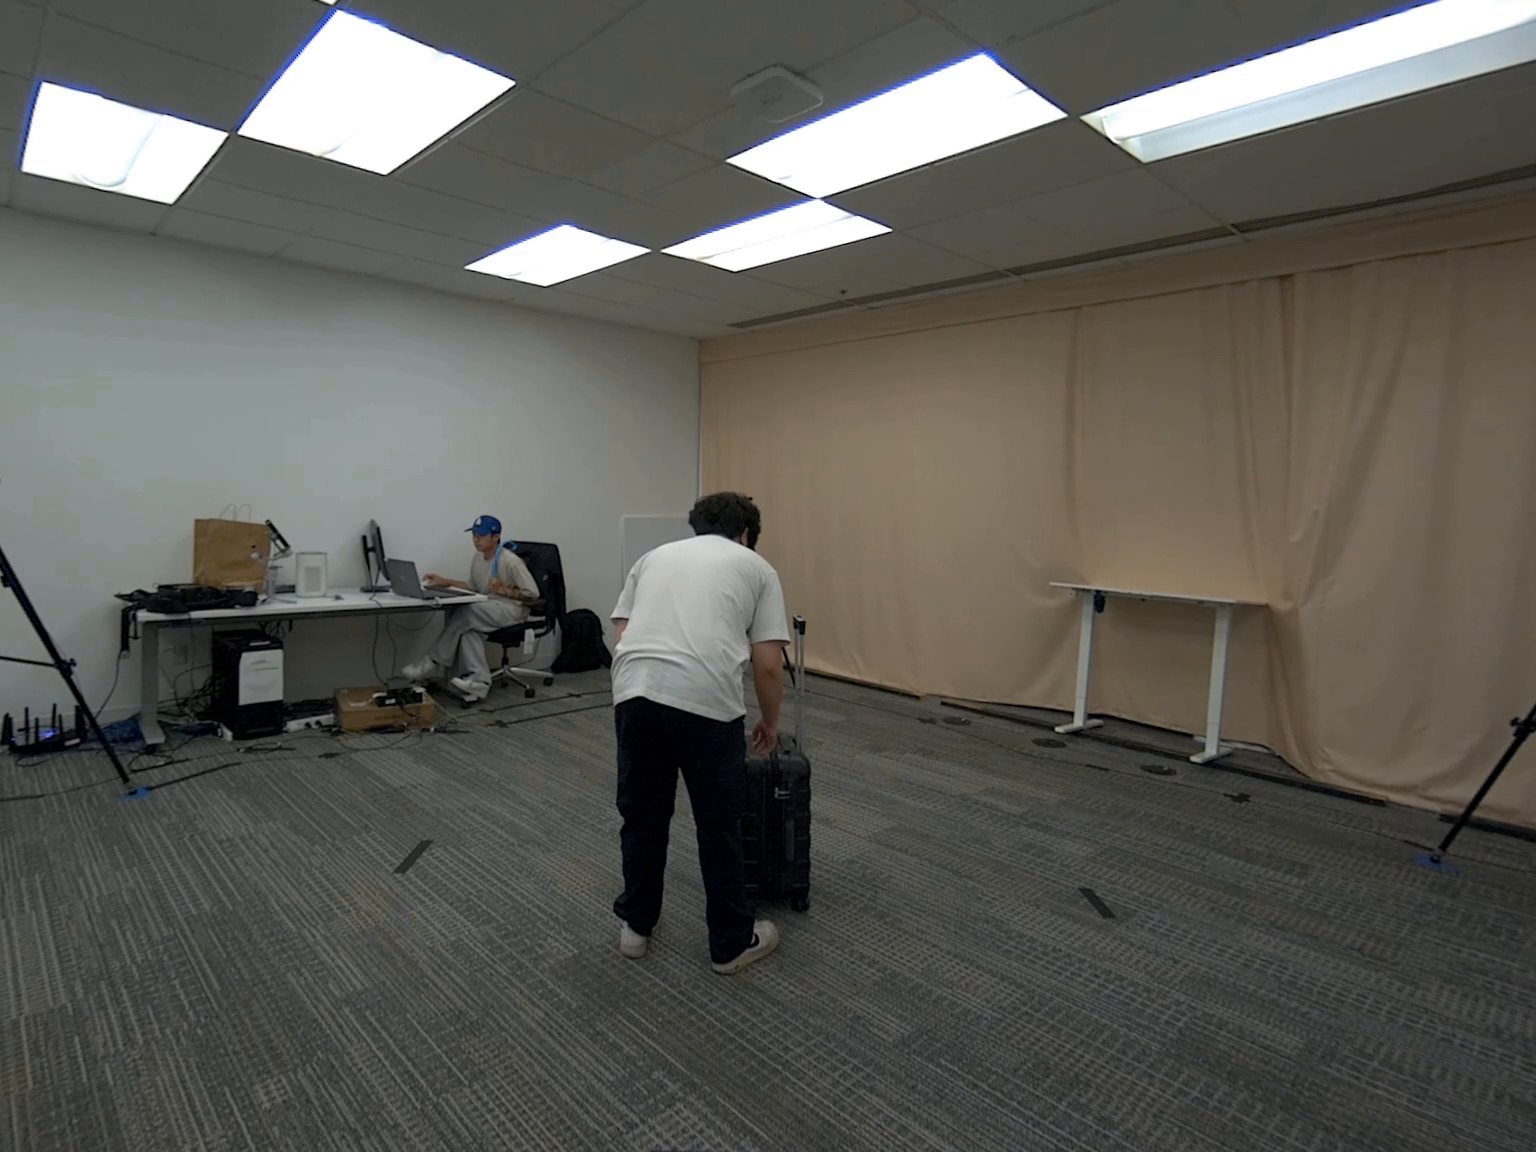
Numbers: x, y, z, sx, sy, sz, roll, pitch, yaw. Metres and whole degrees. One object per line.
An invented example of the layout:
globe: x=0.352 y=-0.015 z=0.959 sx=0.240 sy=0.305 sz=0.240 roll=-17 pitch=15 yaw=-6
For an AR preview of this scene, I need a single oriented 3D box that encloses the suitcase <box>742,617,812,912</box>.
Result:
suitcase: x=0.006 y=0.650 z=2.948 sx=0.256 sy=0.976 sz=0.386 roll=-2 pitch=3 yaw=-3
